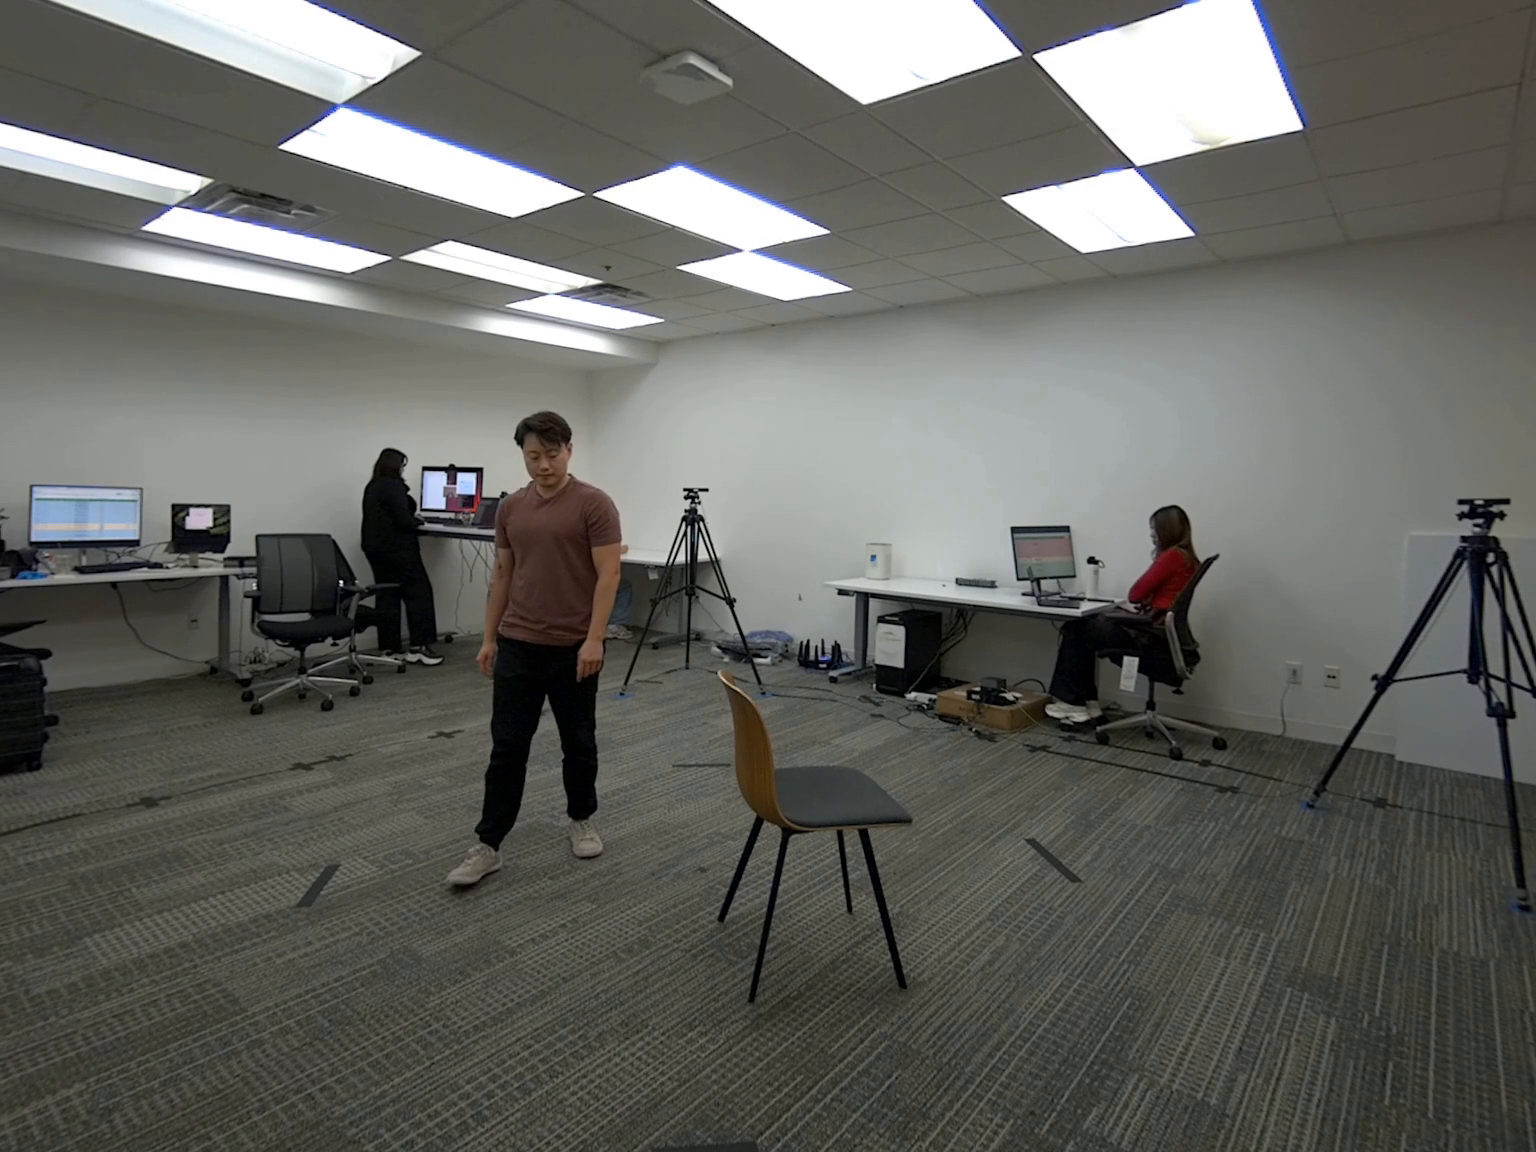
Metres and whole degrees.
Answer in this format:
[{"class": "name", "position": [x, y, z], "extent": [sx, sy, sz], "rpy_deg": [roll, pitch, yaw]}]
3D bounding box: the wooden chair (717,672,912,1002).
[{"class": "wooden chair", "position": [0.128, 0.702, 2.541], "extent": [0.516, 0.874, 0.486], "rpy_deg": [-4, 4, -13]}]
